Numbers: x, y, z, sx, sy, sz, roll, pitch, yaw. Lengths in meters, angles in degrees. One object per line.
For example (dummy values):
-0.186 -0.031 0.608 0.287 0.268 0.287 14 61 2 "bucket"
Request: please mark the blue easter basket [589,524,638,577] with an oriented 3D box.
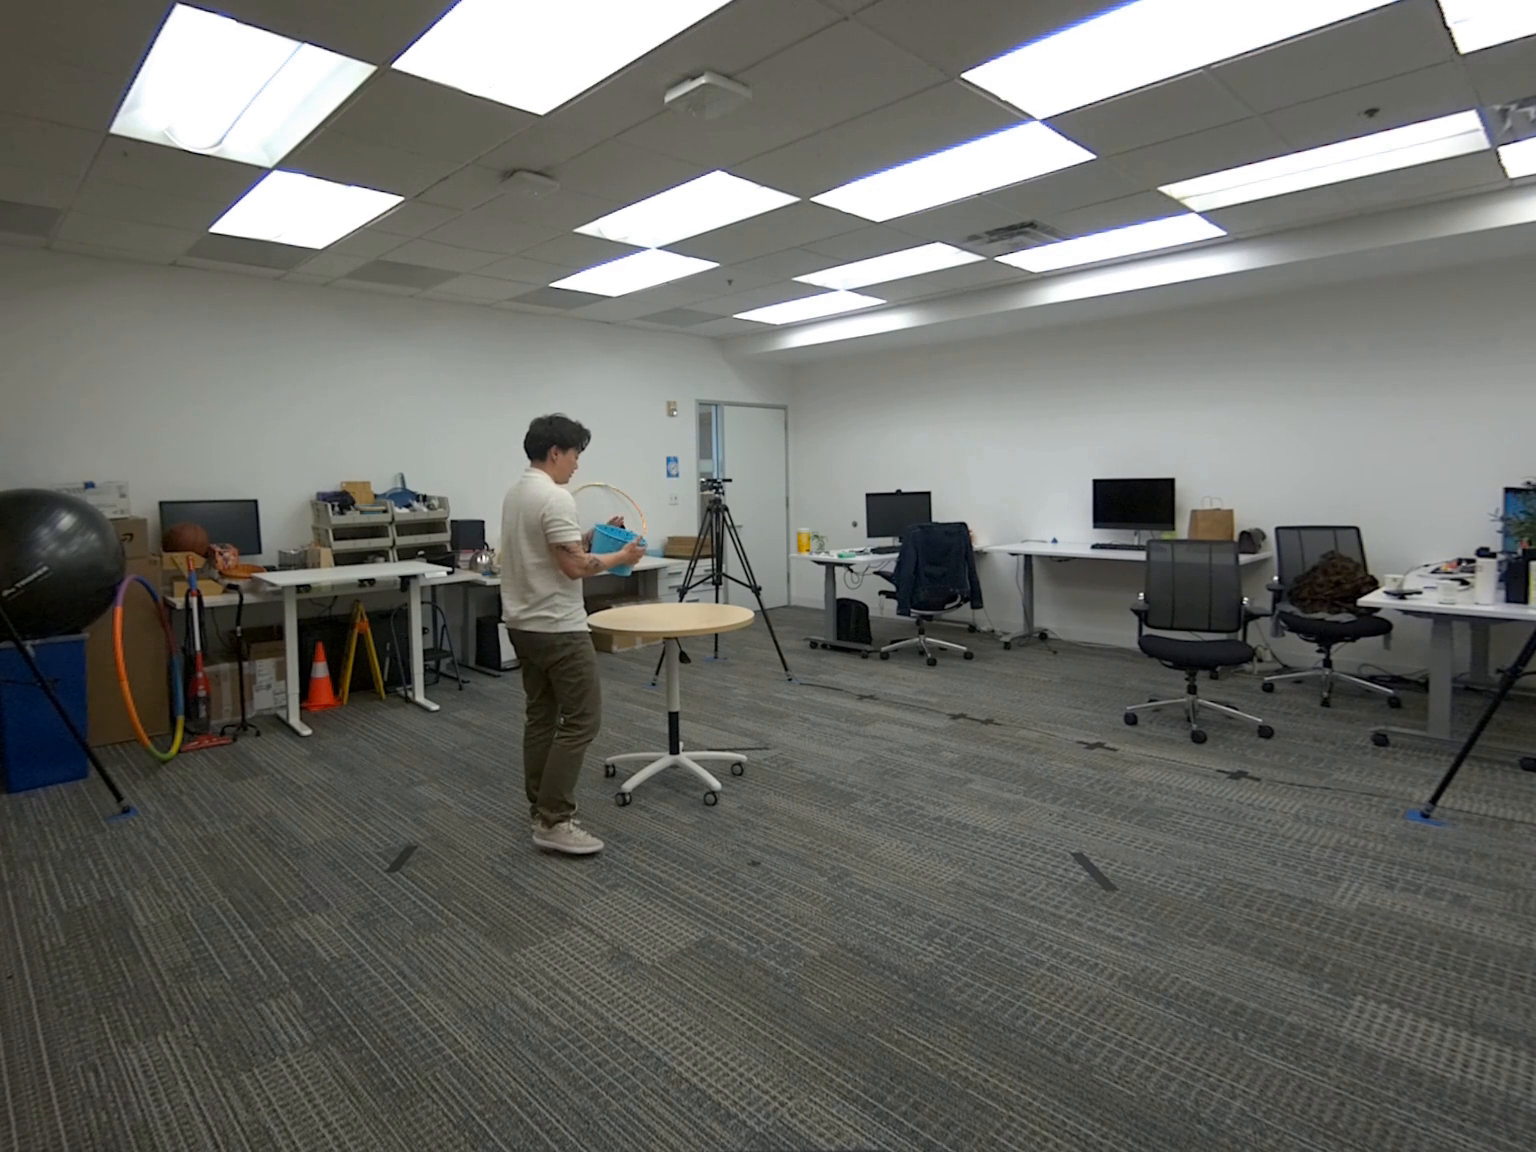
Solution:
-0.652 -0.100 3.562 0.243 0.155 0.245 17 8 -4 "blue easter basket"
